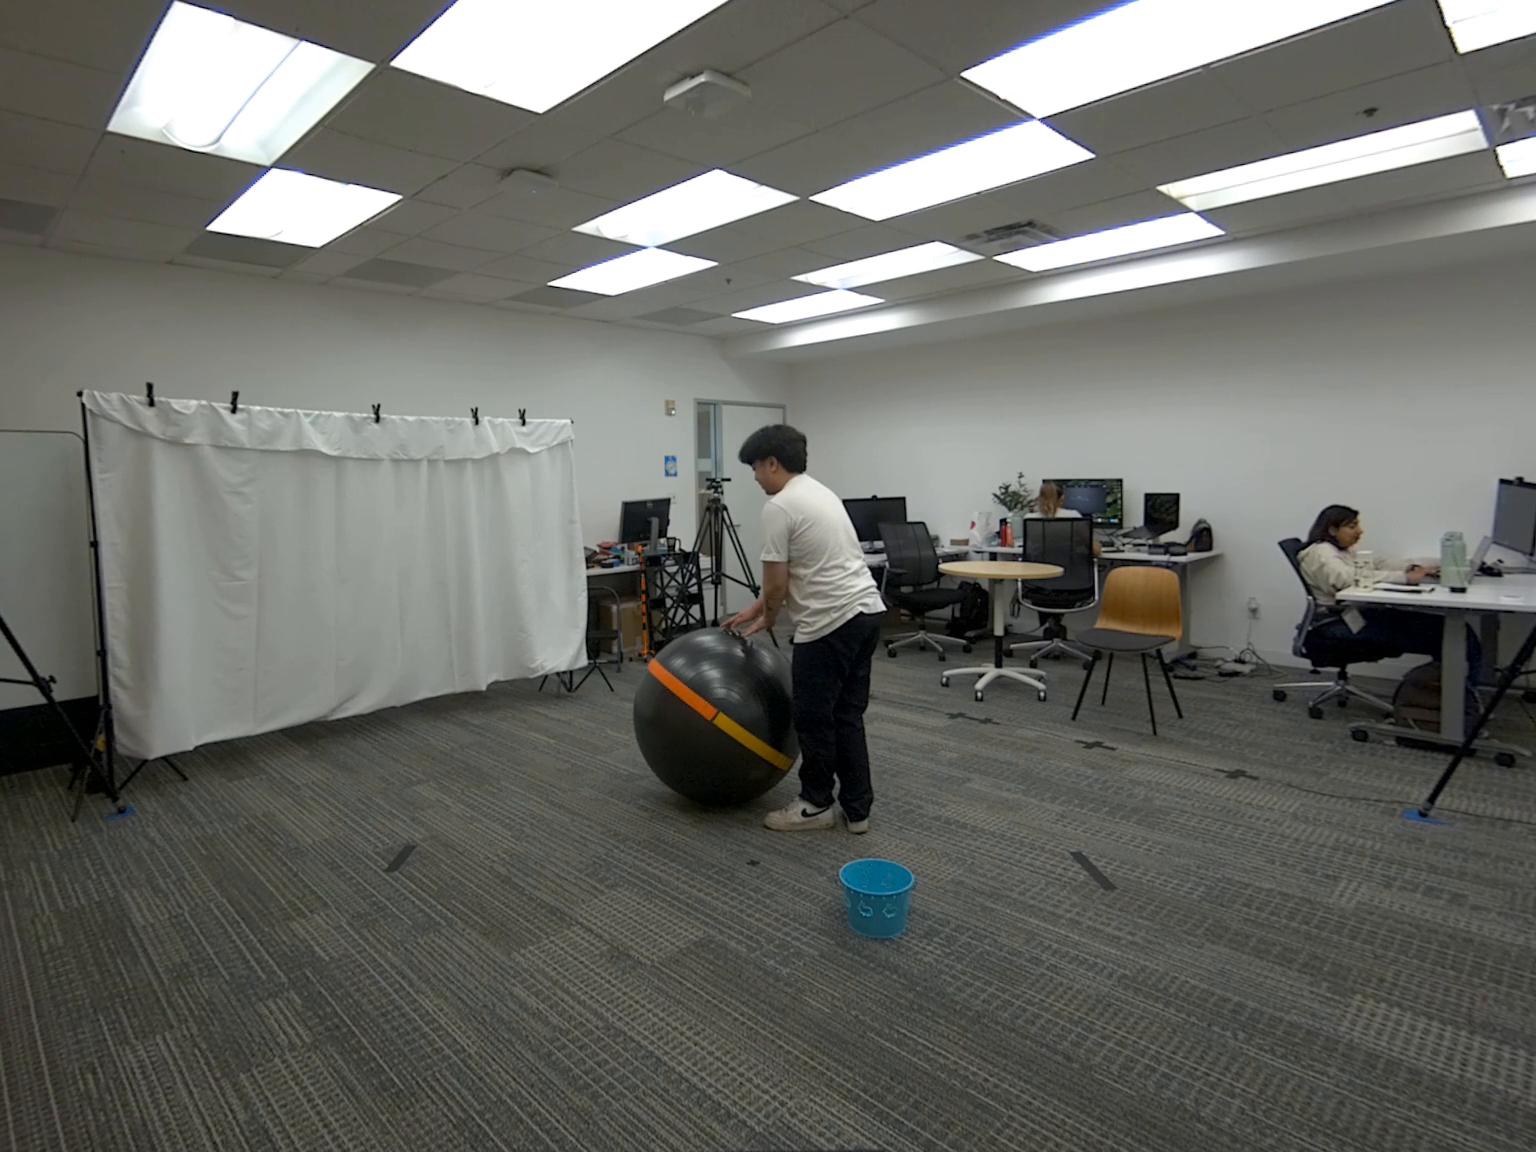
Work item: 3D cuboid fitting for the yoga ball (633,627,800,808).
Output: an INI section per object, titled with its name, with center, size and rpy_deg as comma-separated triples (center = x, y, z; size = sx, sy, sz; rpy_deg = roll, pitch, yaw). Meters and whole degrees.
[yoga ball]
center = -0.210, 0.607, 3.735
size = 0.757, 0.755, 0.762
rpy_deg = -1, 5, -2
